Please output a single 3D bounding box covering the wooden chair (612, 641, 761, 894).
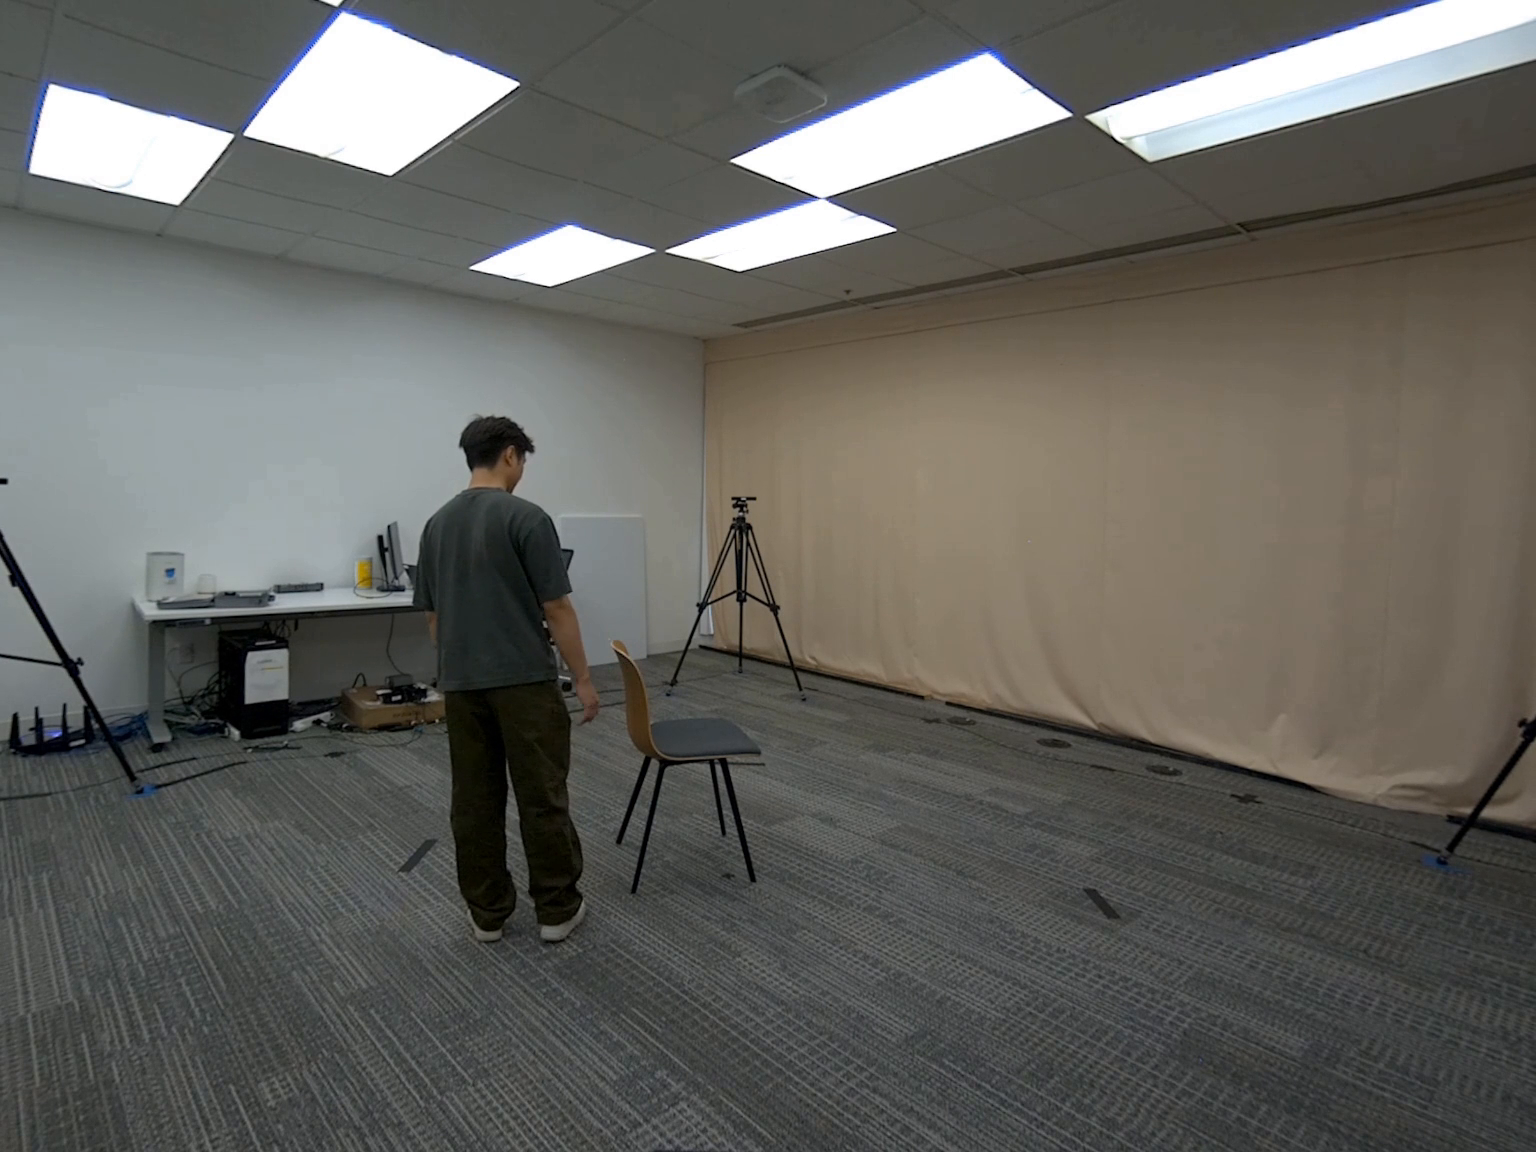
[{"bbox_3d":[-0.313,0.667,3.188,0.517,0.875,0.485,-4,4,-16],"label":"wooden chair"}]
